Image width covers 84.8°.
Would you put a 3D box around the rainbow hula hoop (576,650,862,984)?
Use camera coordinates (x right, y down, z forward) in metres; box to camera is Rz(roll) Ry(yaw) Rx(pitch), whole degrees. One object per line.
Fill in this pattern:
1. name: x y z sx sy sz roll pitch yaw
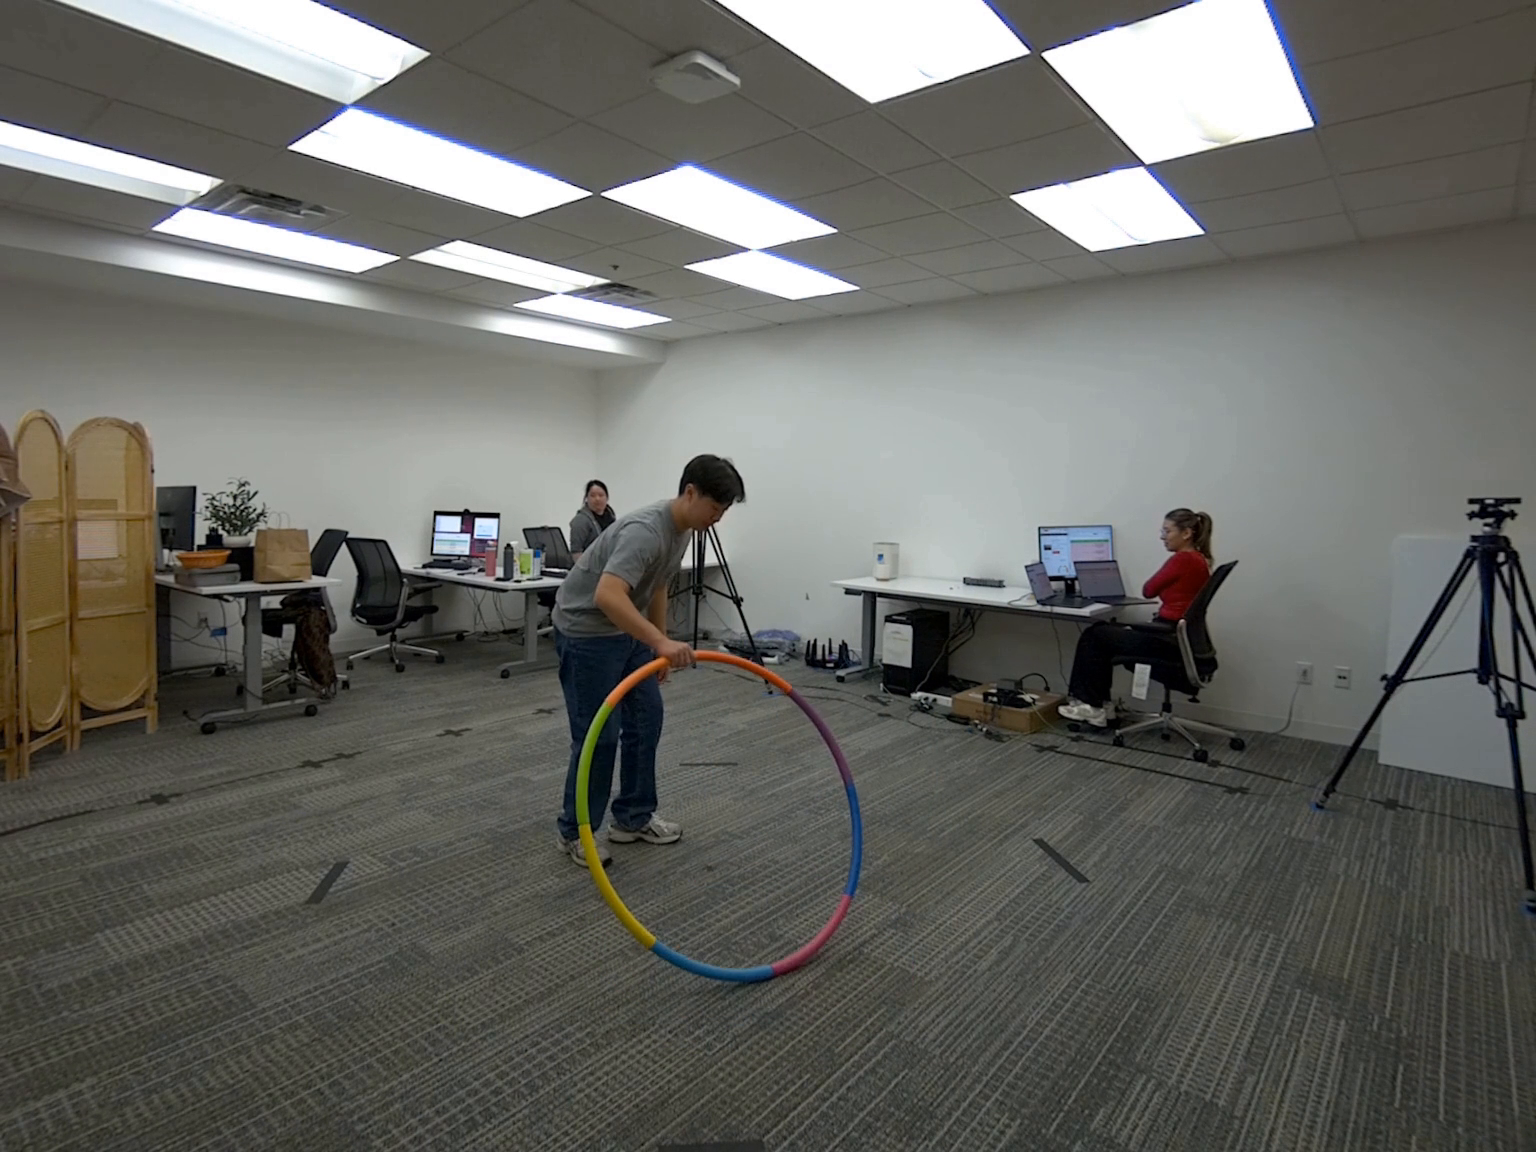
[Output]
1. rainbow hula hoop: -0.126 0.702 2.631 0.952 1.007 0.035 -2 -29 -32
